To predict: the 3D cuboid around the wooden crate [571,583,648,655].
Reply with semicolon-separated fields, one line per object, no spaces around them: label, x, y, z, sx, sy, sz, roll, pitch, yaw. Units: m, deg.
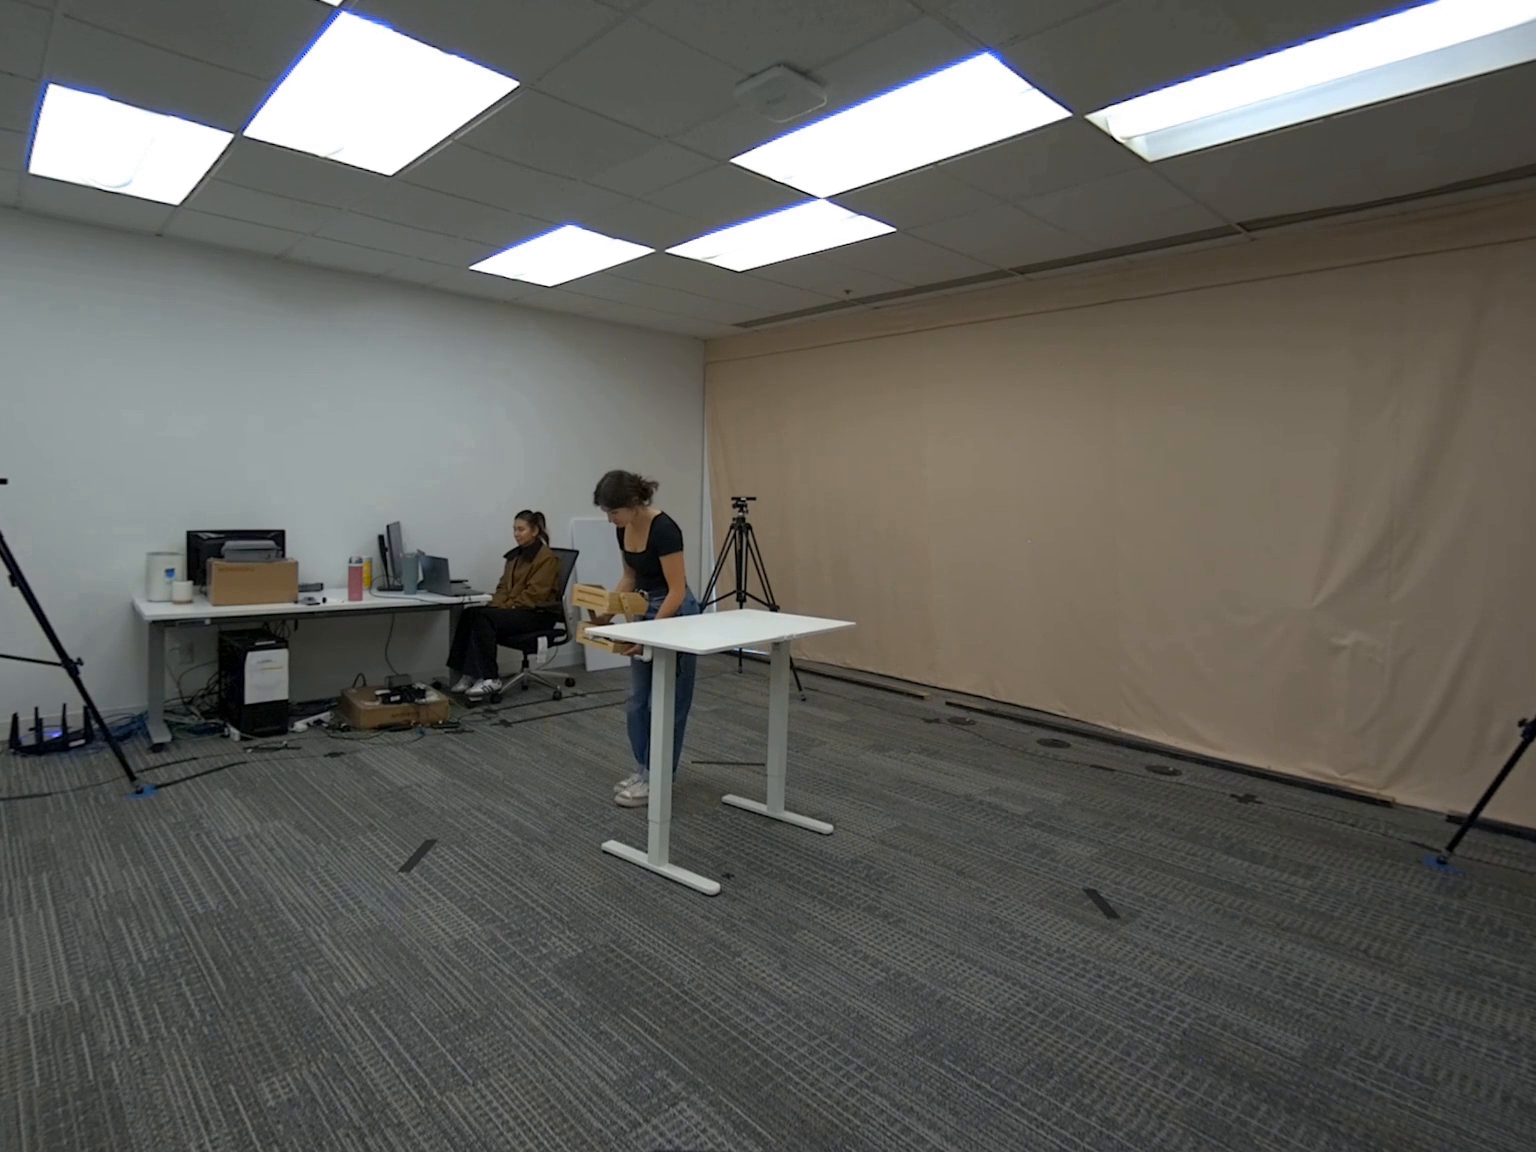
wooden crate;-0.686;0.179;3.738;0.294;0.273;0.333;4;3;-44
